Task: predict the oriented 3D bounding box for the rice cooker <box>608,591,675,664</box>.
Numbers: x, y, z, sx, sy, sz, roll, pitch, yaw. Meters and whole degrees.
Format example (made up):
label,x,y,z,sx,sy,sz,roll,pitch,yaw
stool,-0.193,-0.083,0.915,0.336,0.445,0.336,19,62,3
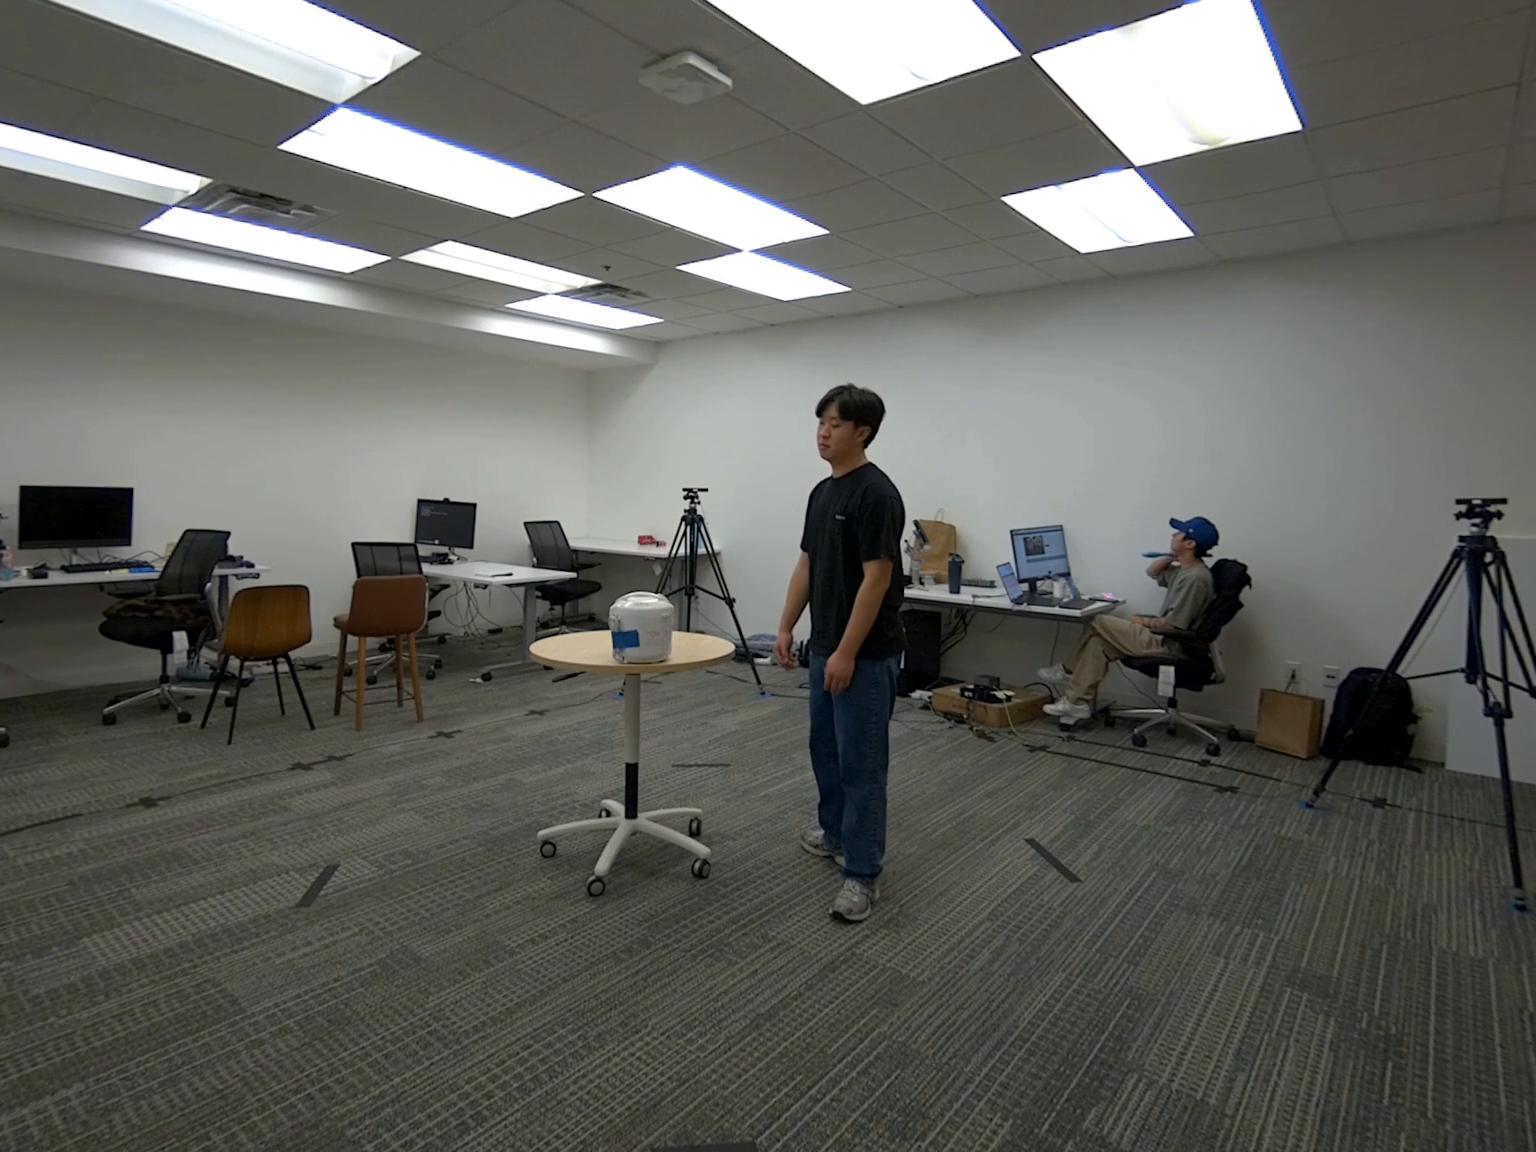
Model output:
label,x,y,z,sx,sy,sz,roll,pitch,yaw
rice cooker,-0.446,0.167,2.933,0.220,0.232,0.219,1,5,-3
